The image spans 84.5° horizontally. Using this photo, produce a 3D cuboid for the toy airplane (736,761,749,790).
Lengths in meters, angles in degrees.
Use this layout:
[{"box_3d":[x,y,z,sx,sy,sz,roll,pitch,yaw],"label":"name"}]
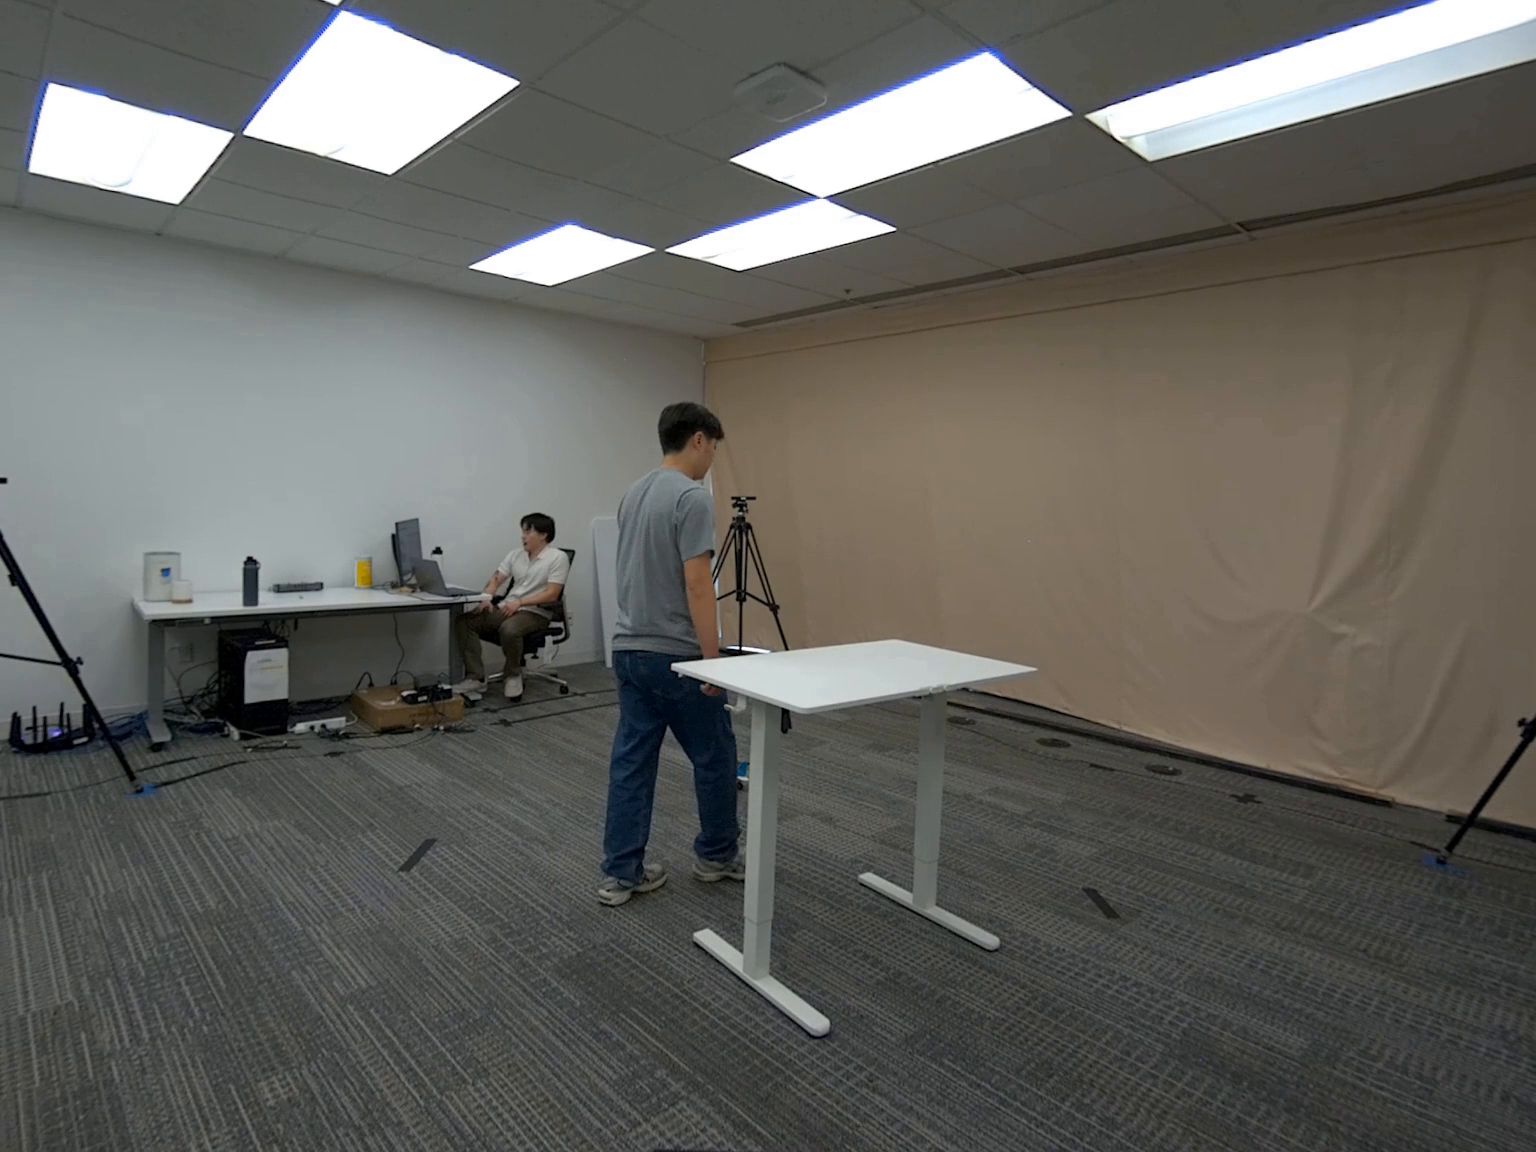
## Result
[{"box_3d":[-0.243,0.952,4.051,0.257,0.156,0.253,5,6,43],"label":"toy airplane"}]
